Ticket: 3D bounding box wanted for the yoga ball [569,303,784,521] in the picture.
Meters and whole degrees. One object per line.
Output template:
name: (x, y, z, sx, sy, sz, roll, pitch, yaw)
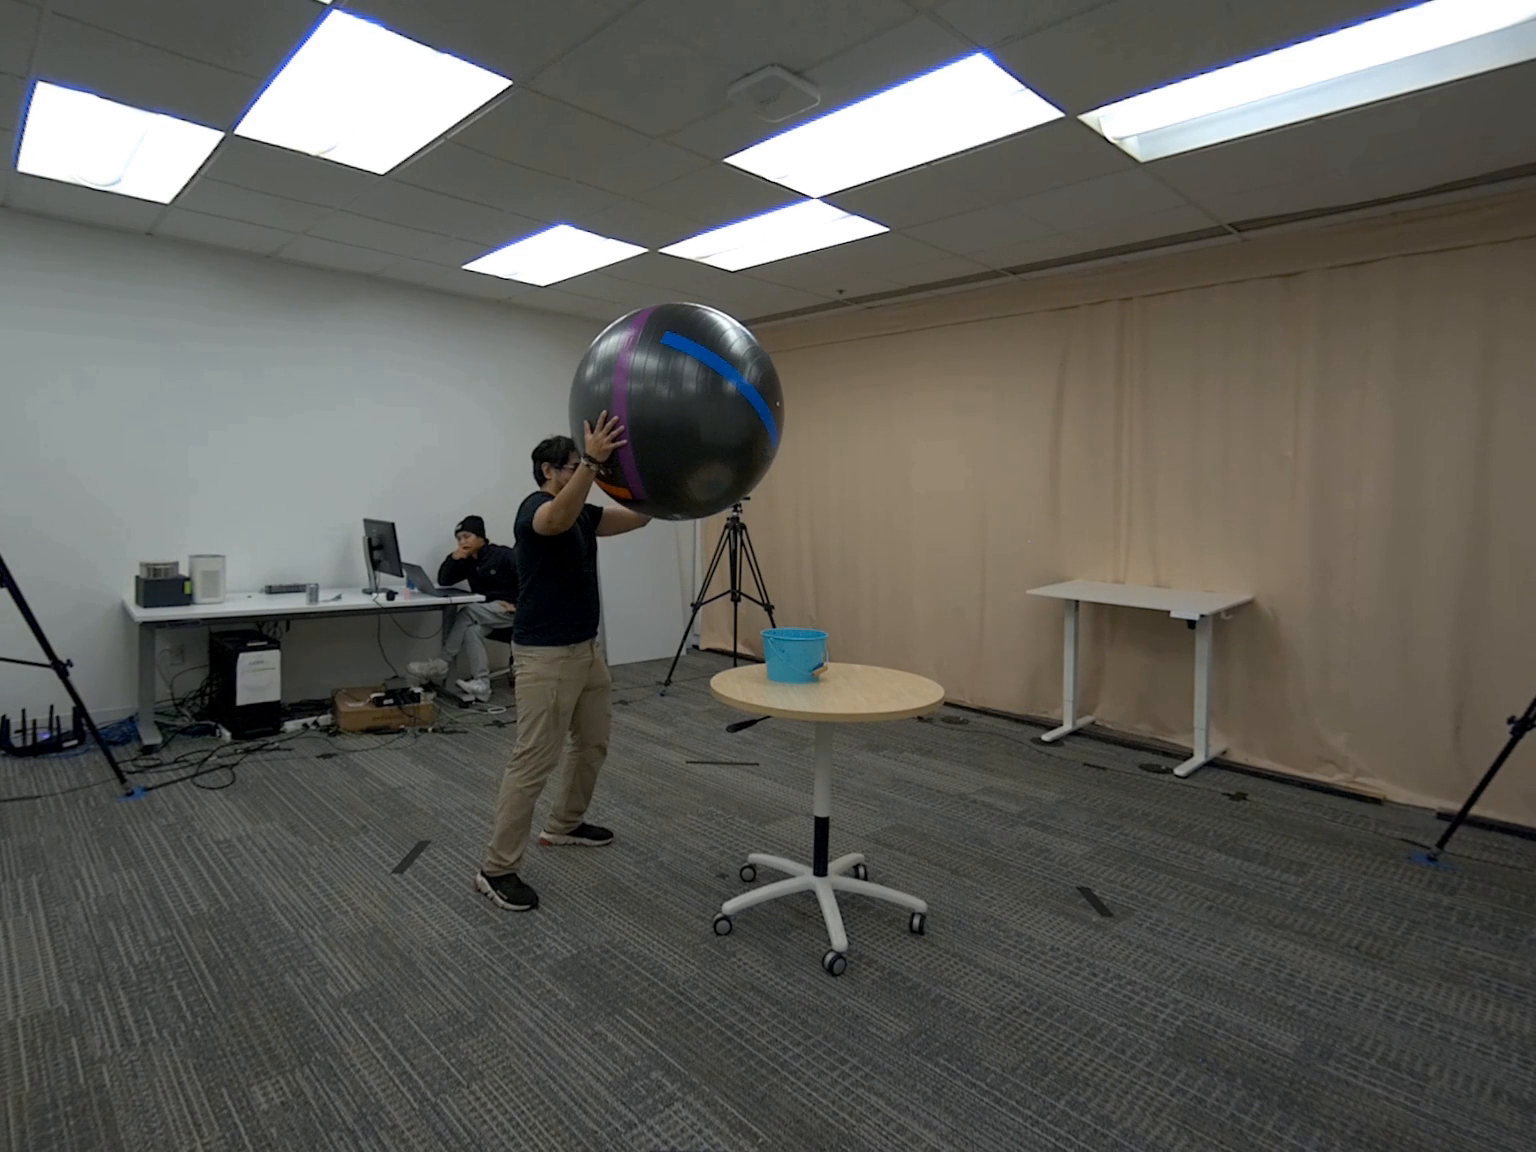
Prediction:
yoga ball: (-0.325, -0.567, 2.971, 0.757, 0.756, 0.761, 1, 4, -1)
